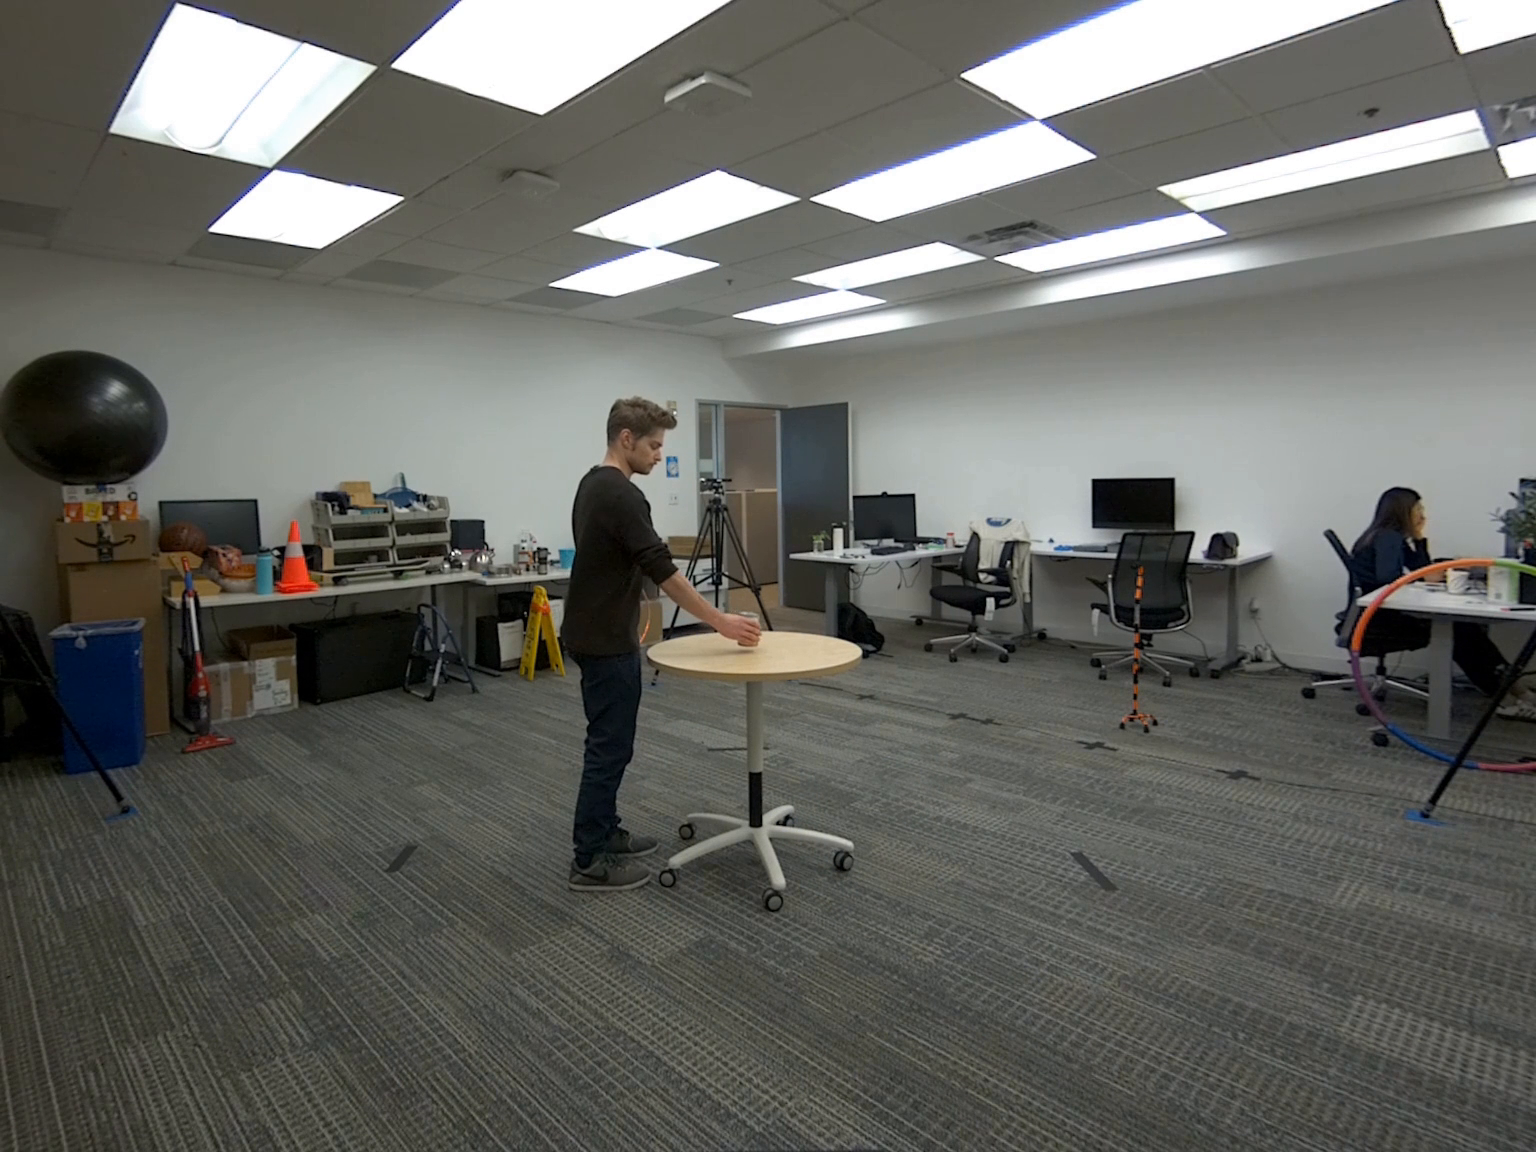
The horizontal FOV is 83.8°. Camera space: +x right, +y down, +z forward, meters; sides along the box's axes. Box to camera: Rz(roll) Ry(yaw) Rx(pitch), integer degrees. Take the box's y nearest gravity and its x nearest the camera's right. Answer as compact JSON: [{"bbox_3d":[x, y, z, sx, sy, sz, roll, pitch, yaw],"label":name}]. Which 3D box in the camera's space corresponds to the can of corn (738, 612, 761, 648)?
[{"bbox_3d":[-0.067,0.188,3.029,0.074,0.111,0.074,0,4,-2],"label":"can of corn"}]
